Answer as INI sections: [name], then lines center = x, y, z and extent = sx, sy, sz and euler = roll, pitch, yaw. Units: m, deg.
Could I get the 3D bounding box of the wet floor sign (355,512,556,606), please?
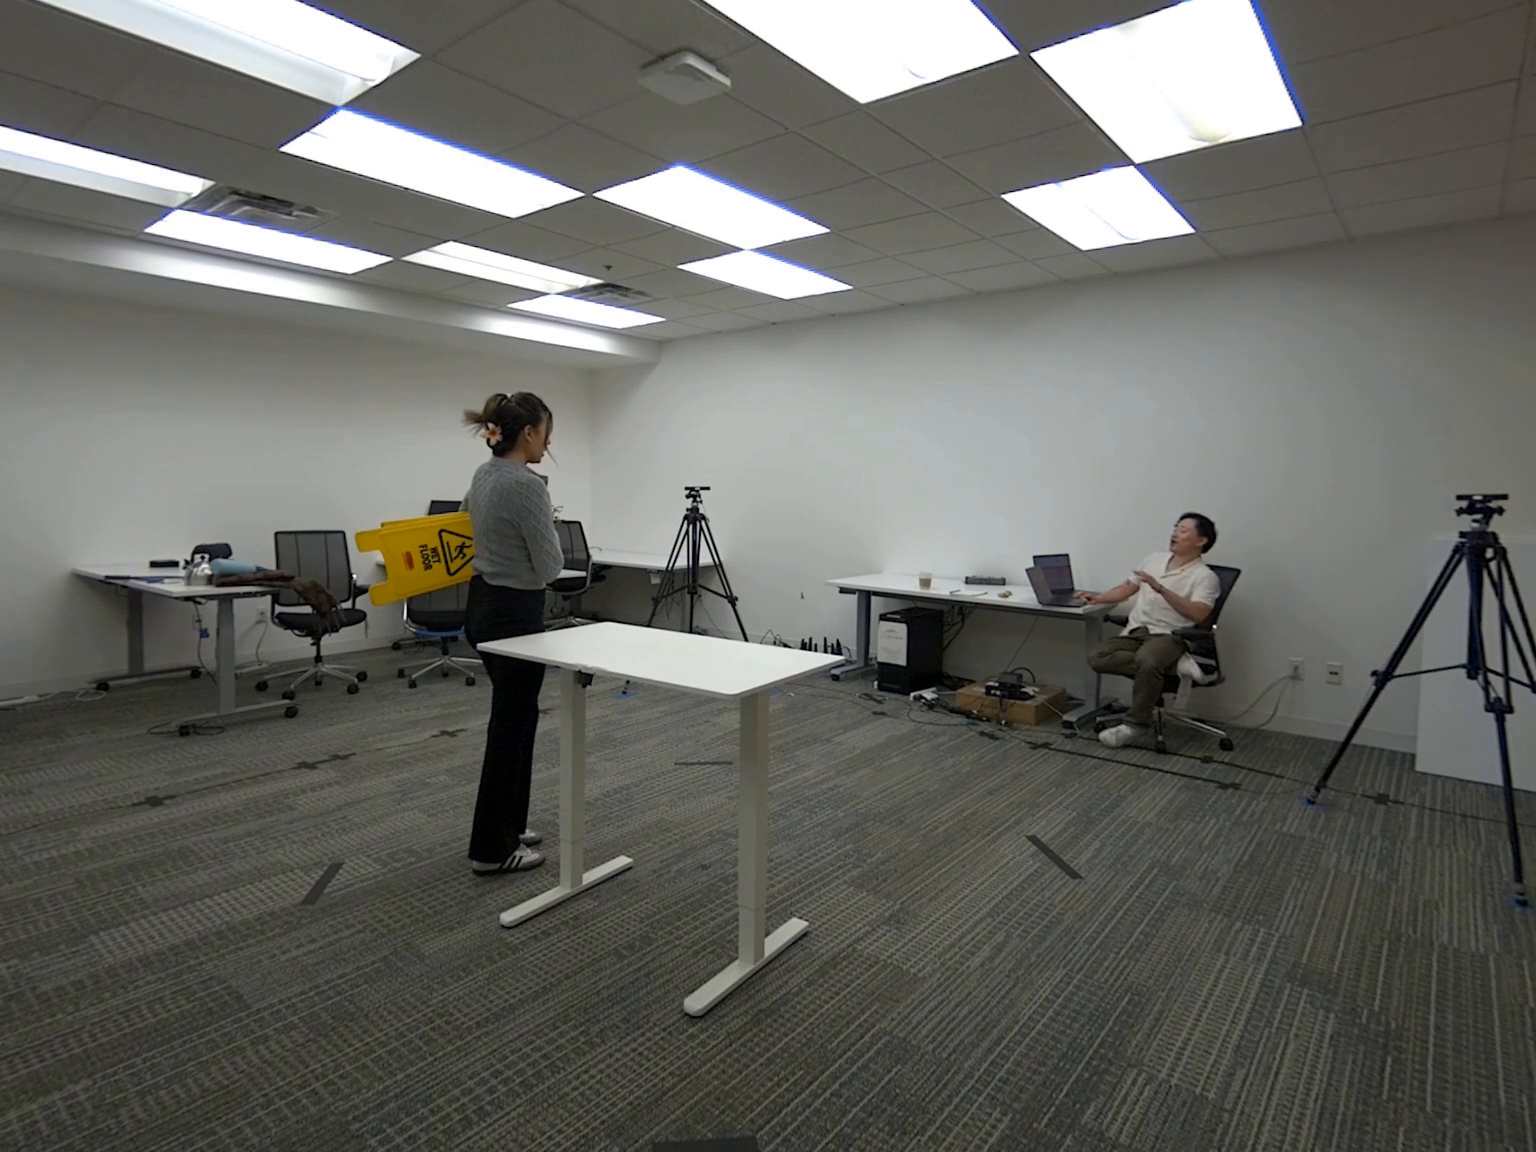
[wet floor sign]
center = -1.189, -0.111, 3.240
extent = 0.645, 0.279, 0.293
euler = -12, 10, -2
